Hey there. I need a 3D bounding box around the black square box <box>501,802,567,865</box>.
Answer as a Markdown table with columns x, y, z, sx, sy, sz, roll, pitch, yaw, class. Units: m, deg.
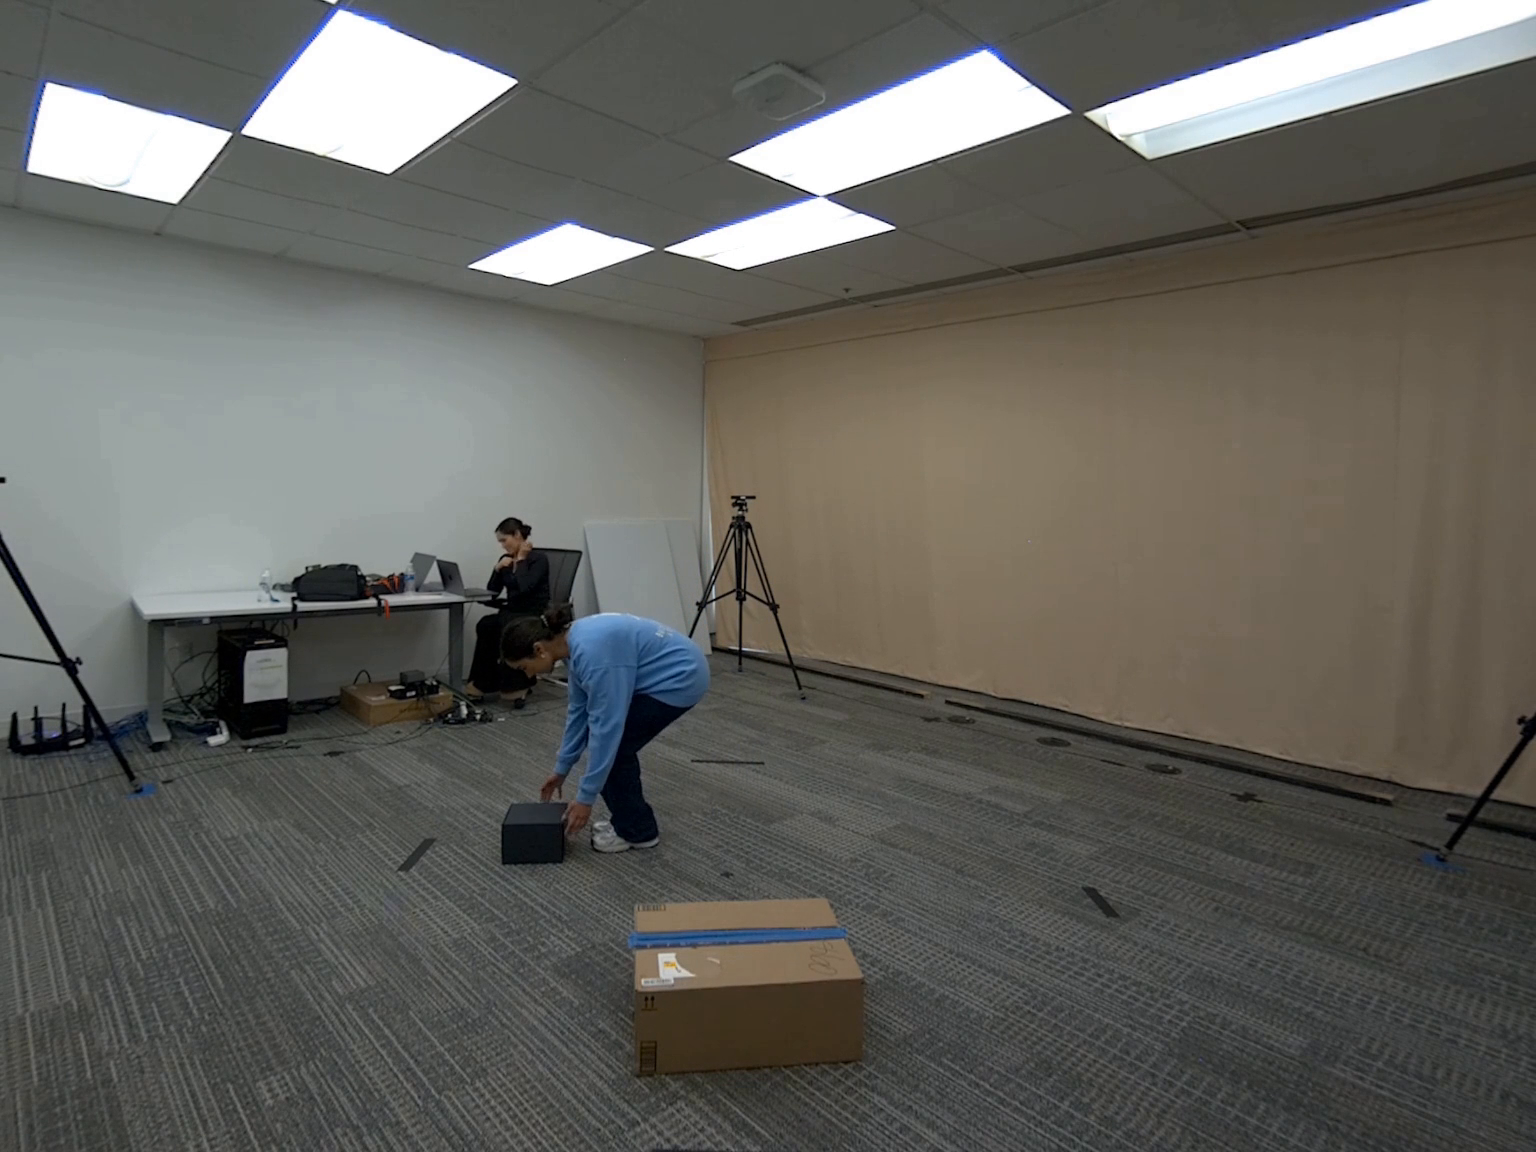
| x | y | z | sx | sy | sz | roll | pitch | yaw | class |
| --- | --- | --- | --- | --- | --- | --- | --- | --- | --- |
| -0.900 | 0.986 | 3.254 | 0.226 | 0.155 | 0.219 | 1 | 4 | -8 | black square box |
